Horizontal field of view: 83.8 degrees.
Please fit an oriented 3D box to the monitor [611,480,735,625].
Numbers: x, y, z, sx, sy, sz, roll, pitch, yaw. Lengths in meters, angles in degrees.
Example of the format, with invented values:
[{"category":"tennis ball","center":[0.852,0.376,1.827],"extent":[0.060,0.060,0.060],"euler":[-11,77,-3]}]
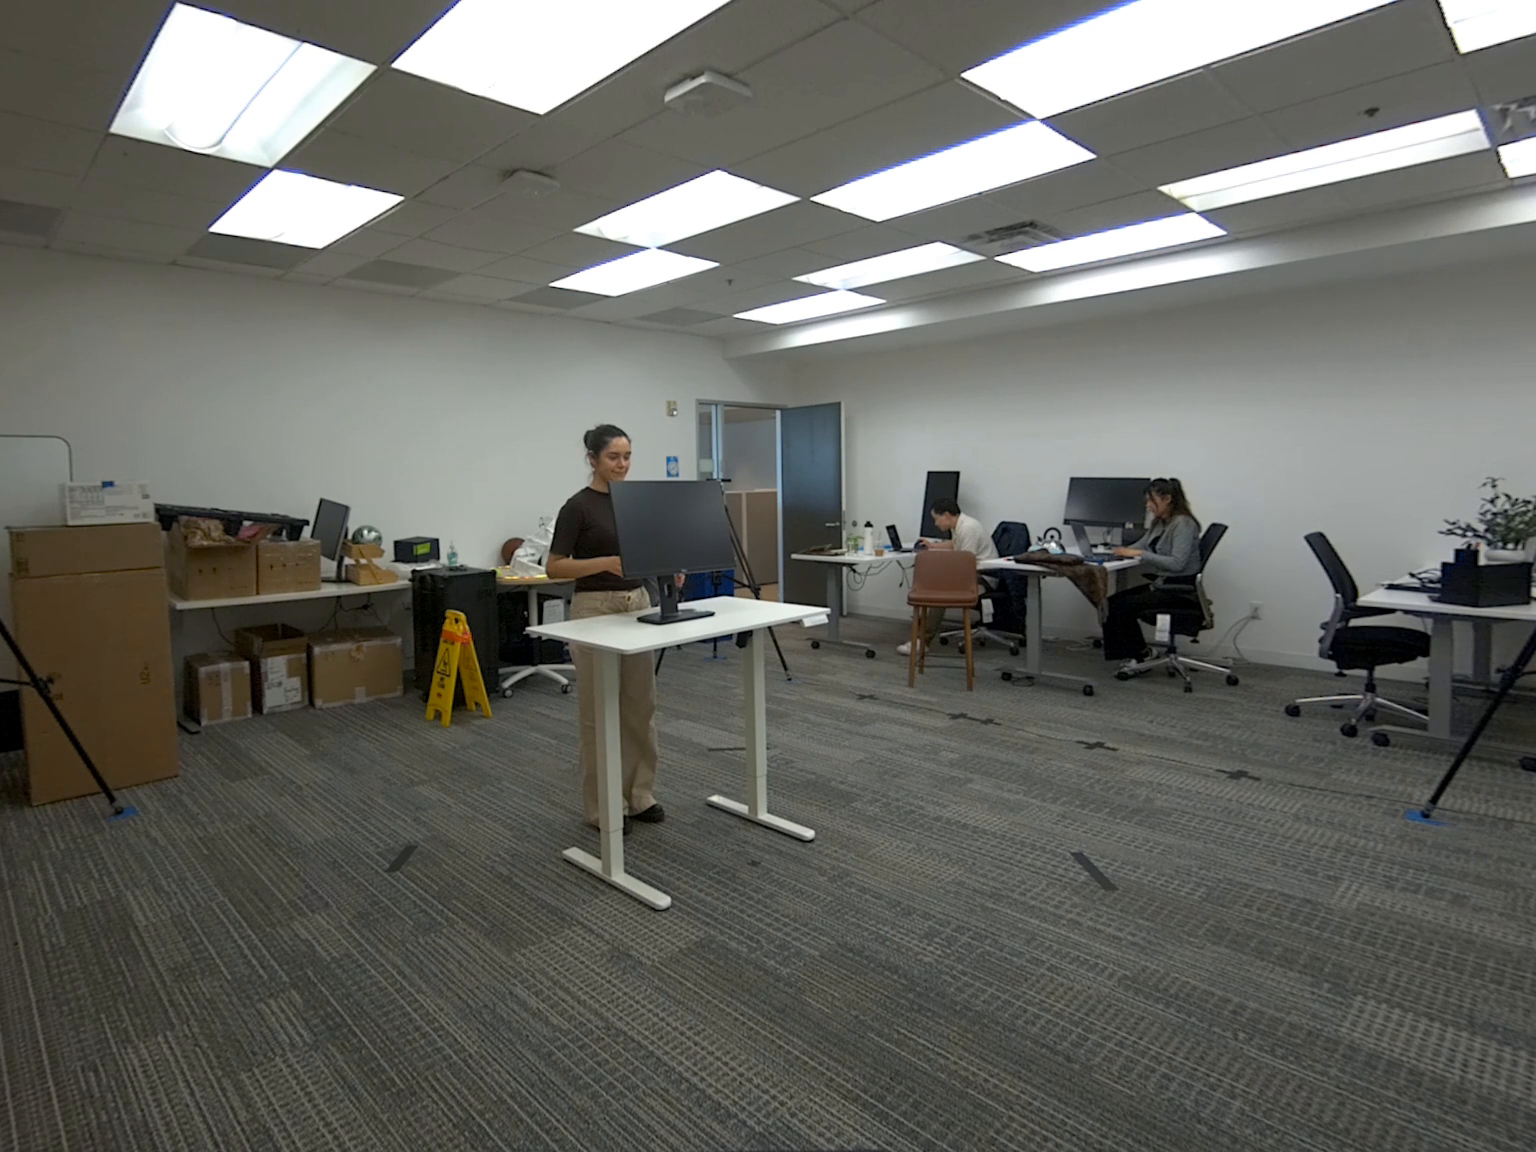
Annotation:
[{"category":"monitor","center":[-0.359,-0.094,3.185],"extent":[0.192,0.521,0.525],"euler":[0,4,44]}]
